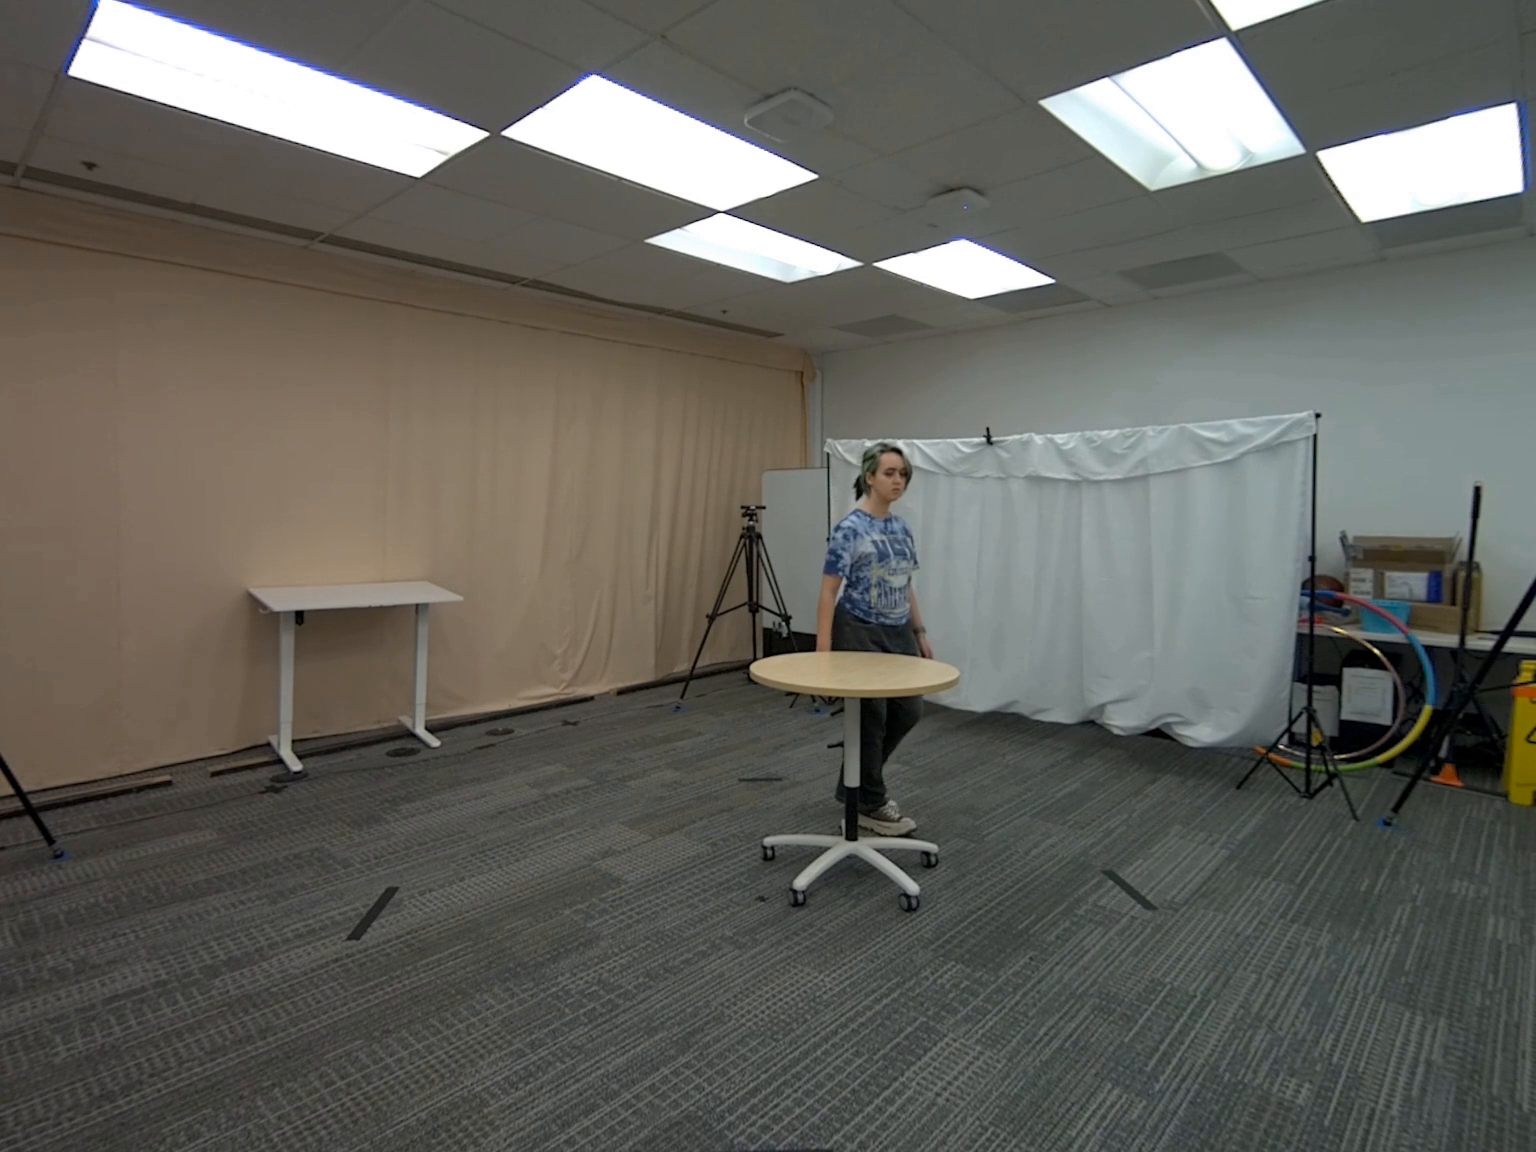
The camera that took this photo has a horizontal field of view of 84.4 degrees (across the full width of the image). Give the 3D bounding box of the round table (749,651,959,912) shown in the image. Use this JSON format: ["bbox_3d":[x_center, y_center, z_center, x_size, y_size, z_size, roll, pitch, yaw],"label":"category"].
[{"bbox_3d":[0.309,0.741,3.145,0.763,0.792,0.766,0,3,-2],"label":"round table"}]
